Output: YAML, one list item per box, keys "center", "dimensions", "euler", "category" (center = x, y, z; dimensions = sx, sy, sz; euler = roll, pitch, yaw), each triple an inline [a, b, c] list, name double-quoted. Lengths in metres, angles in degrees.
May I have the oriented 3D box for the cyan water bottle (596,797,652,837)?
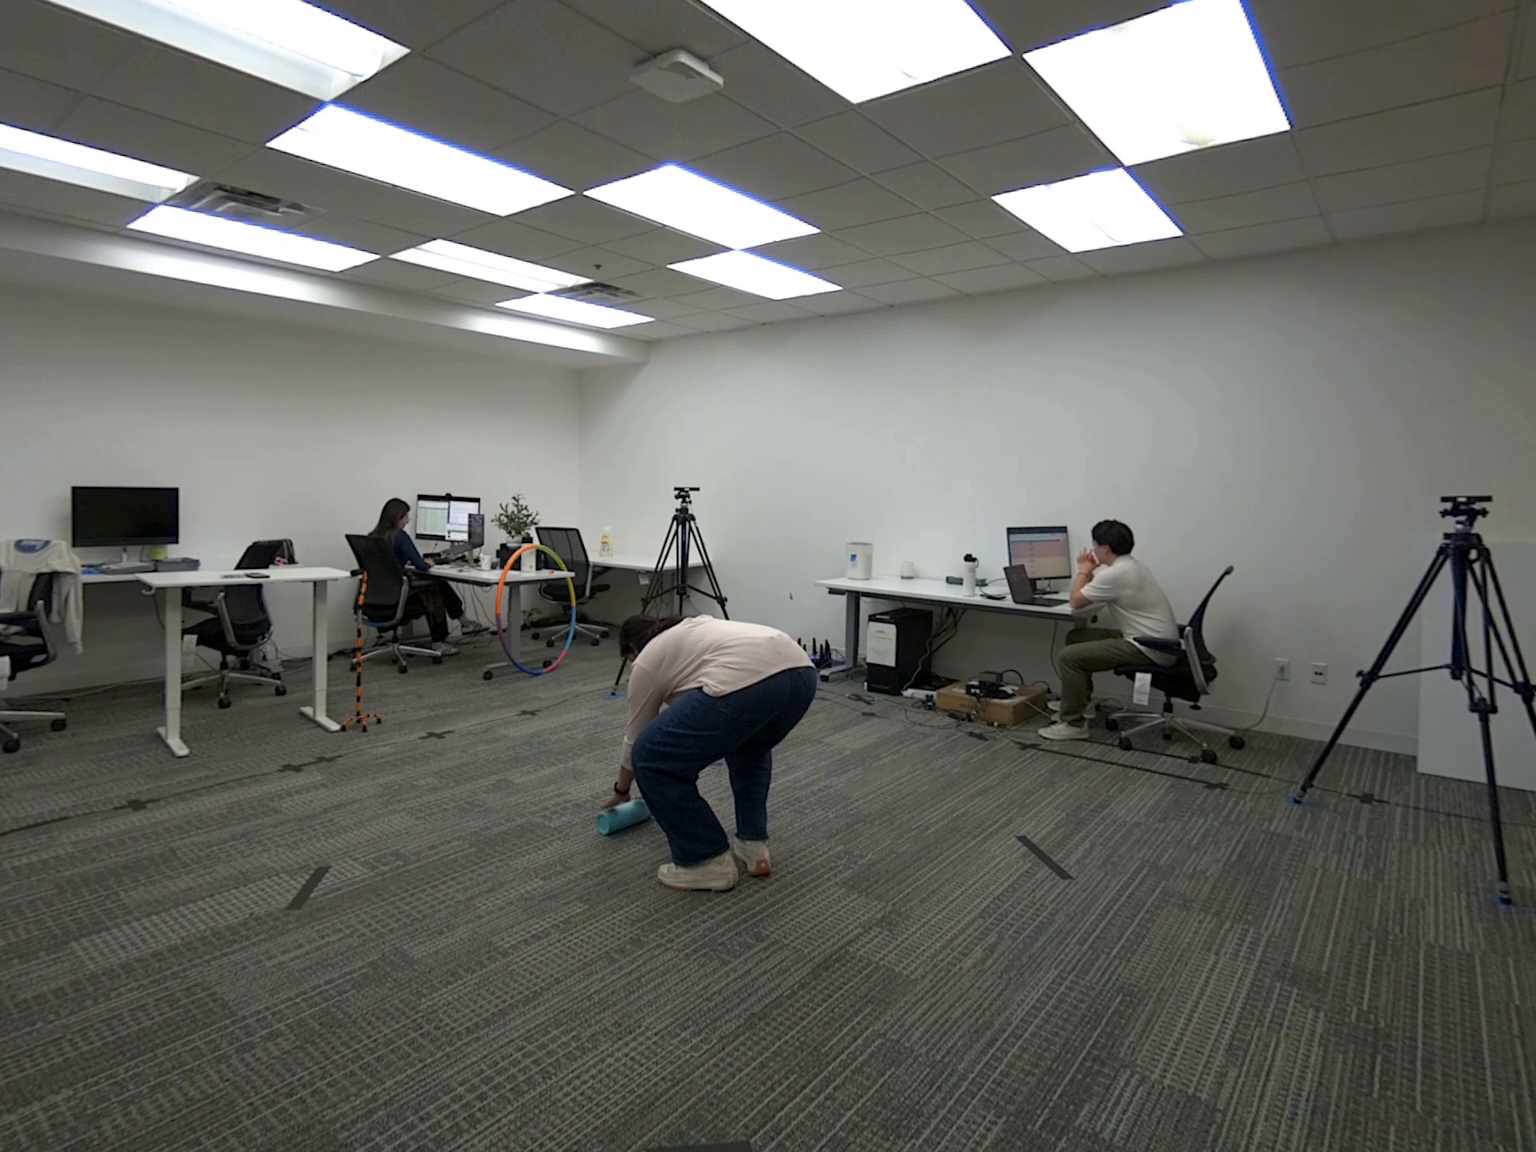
- center: [-0.581, 0.969, 3.488]
  dimensions: [0.095, 0.092, 0.275]
  euler: [5, 7, 43]
  category: "cyan water bottle"
